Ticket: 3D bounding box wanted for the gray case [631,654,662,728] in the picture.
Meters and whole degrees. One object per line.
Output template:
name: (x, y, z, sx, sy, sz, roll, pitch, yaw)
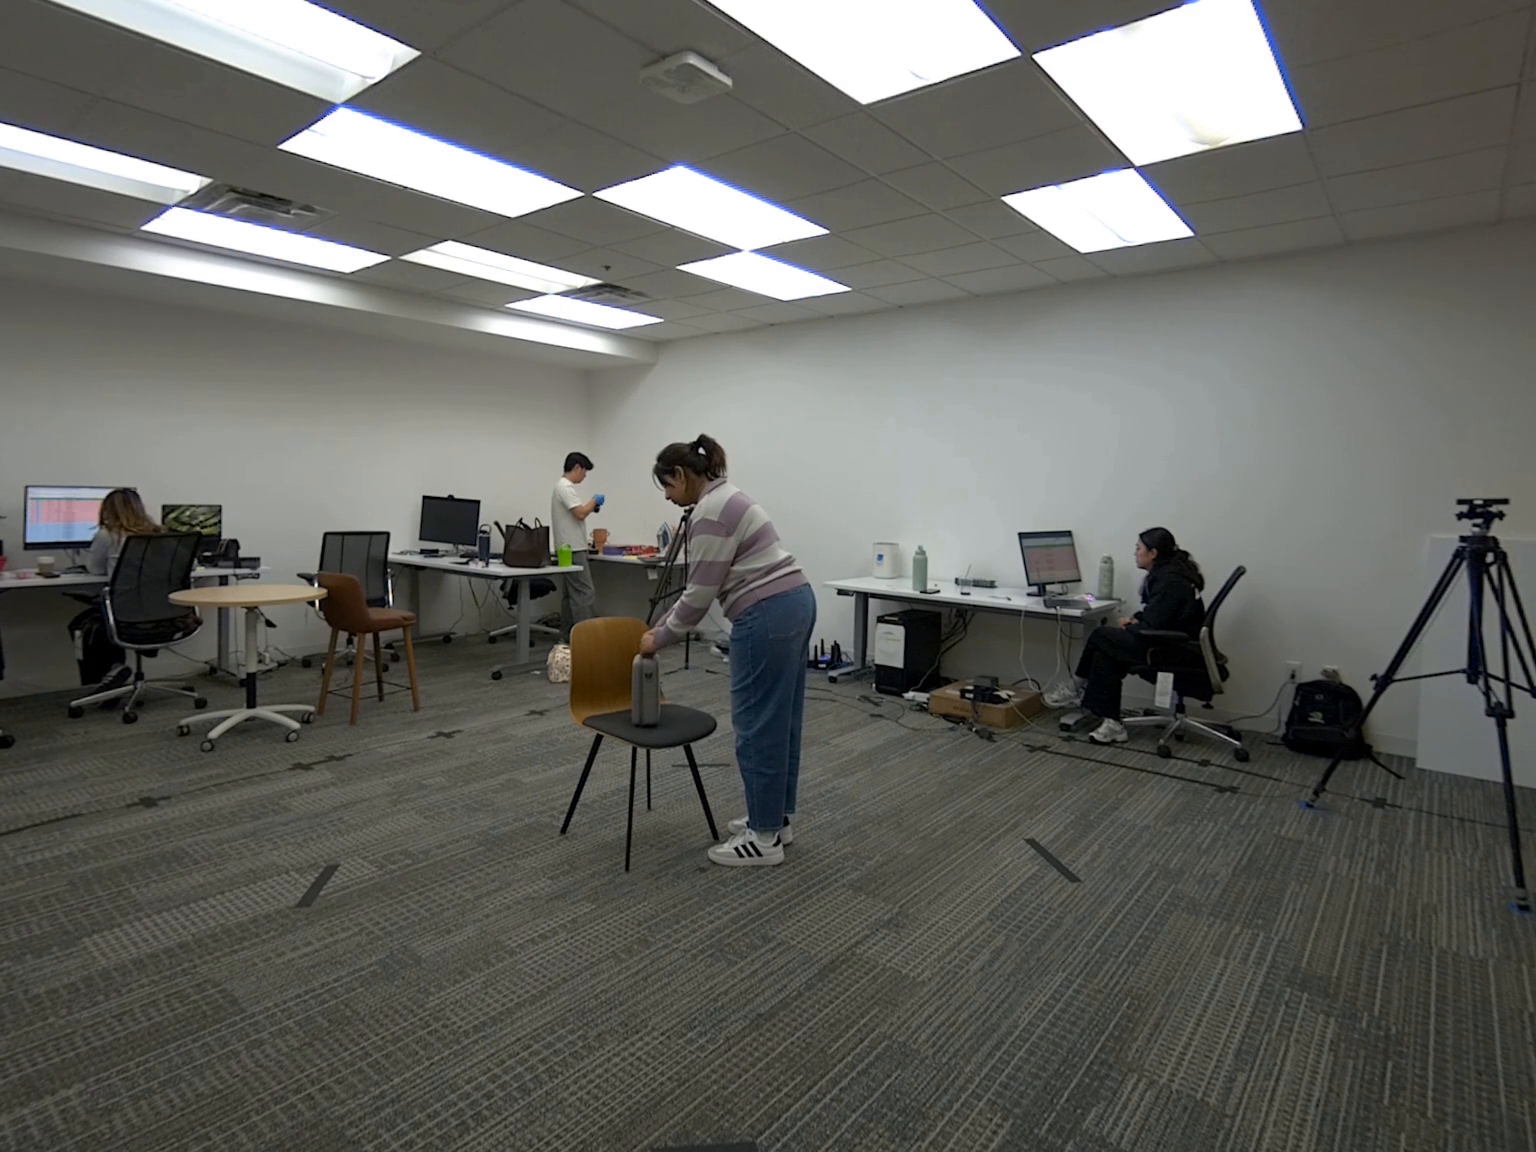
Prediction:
gray case: (-0.499, 0.428, 3.349, 0.103, 0.260, 0.259, -1, 1, -8)
